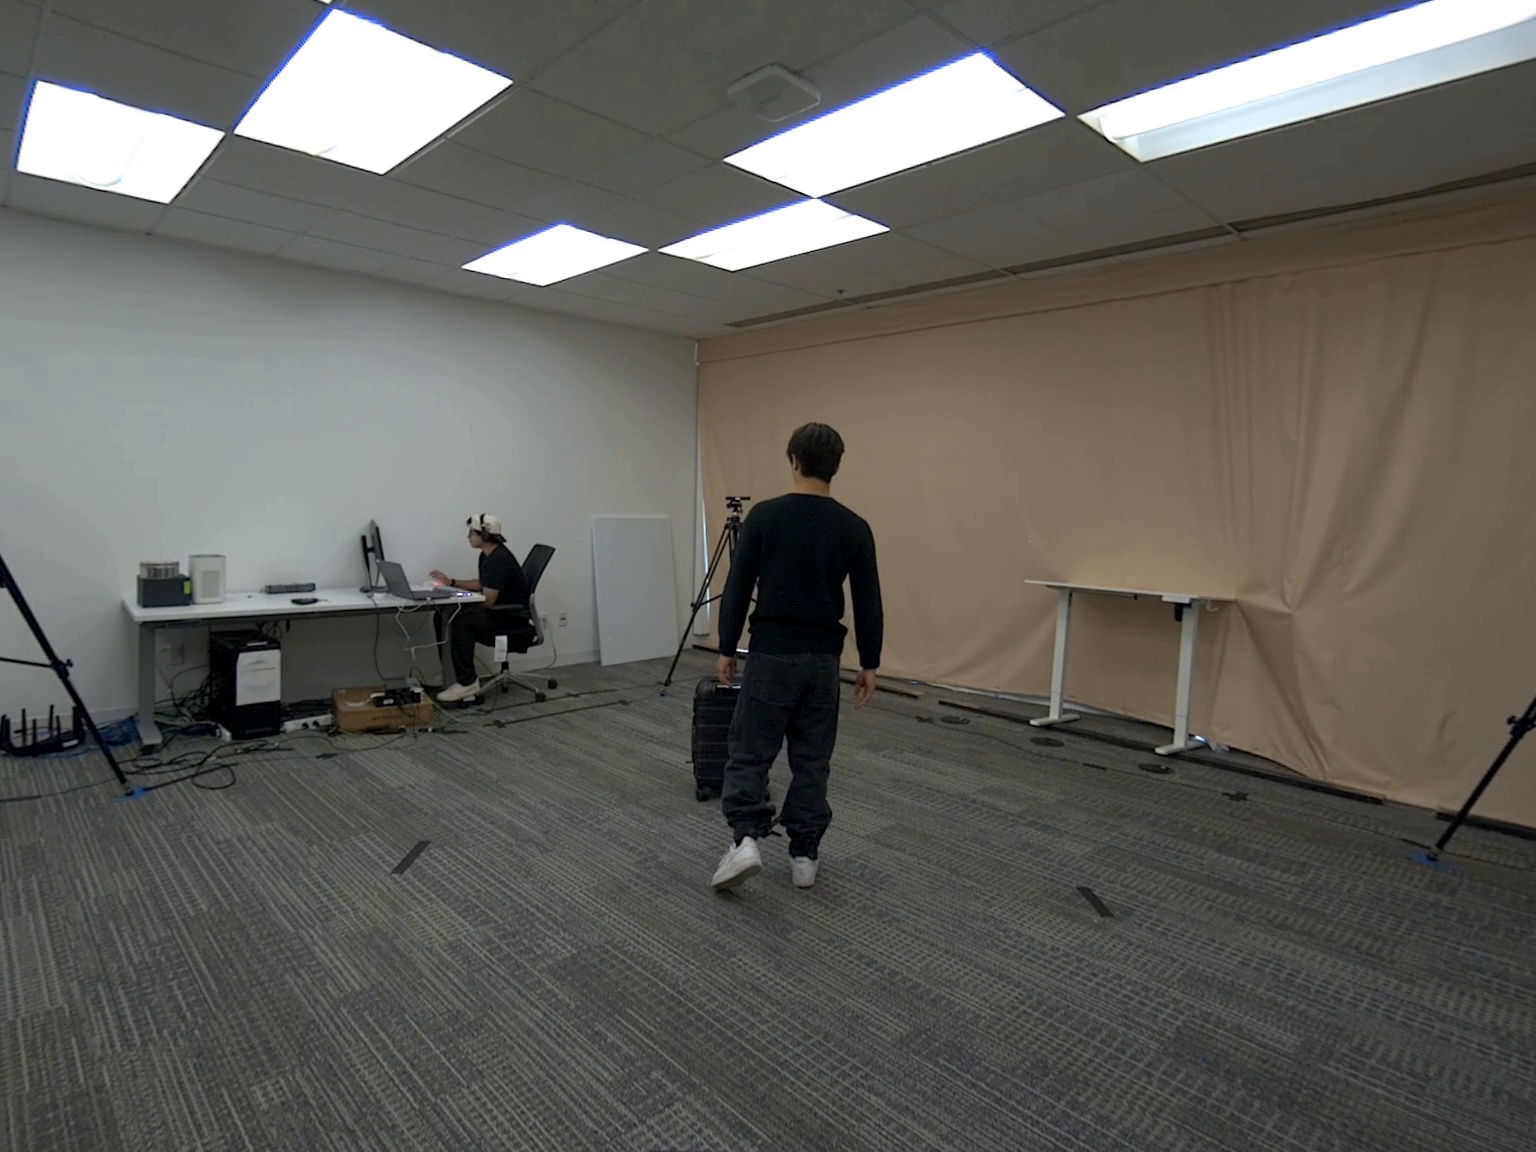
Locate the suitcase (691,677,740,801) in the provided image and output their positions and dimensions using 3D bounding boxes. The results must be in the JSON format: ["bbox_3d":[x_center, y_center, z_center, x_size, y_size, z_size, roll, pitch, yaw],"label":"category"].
[{"bbox_3d":[-0.182,0.750,4.000,0.375,0.548,0.249,1,2,-2],"label":"suitcase"}]
